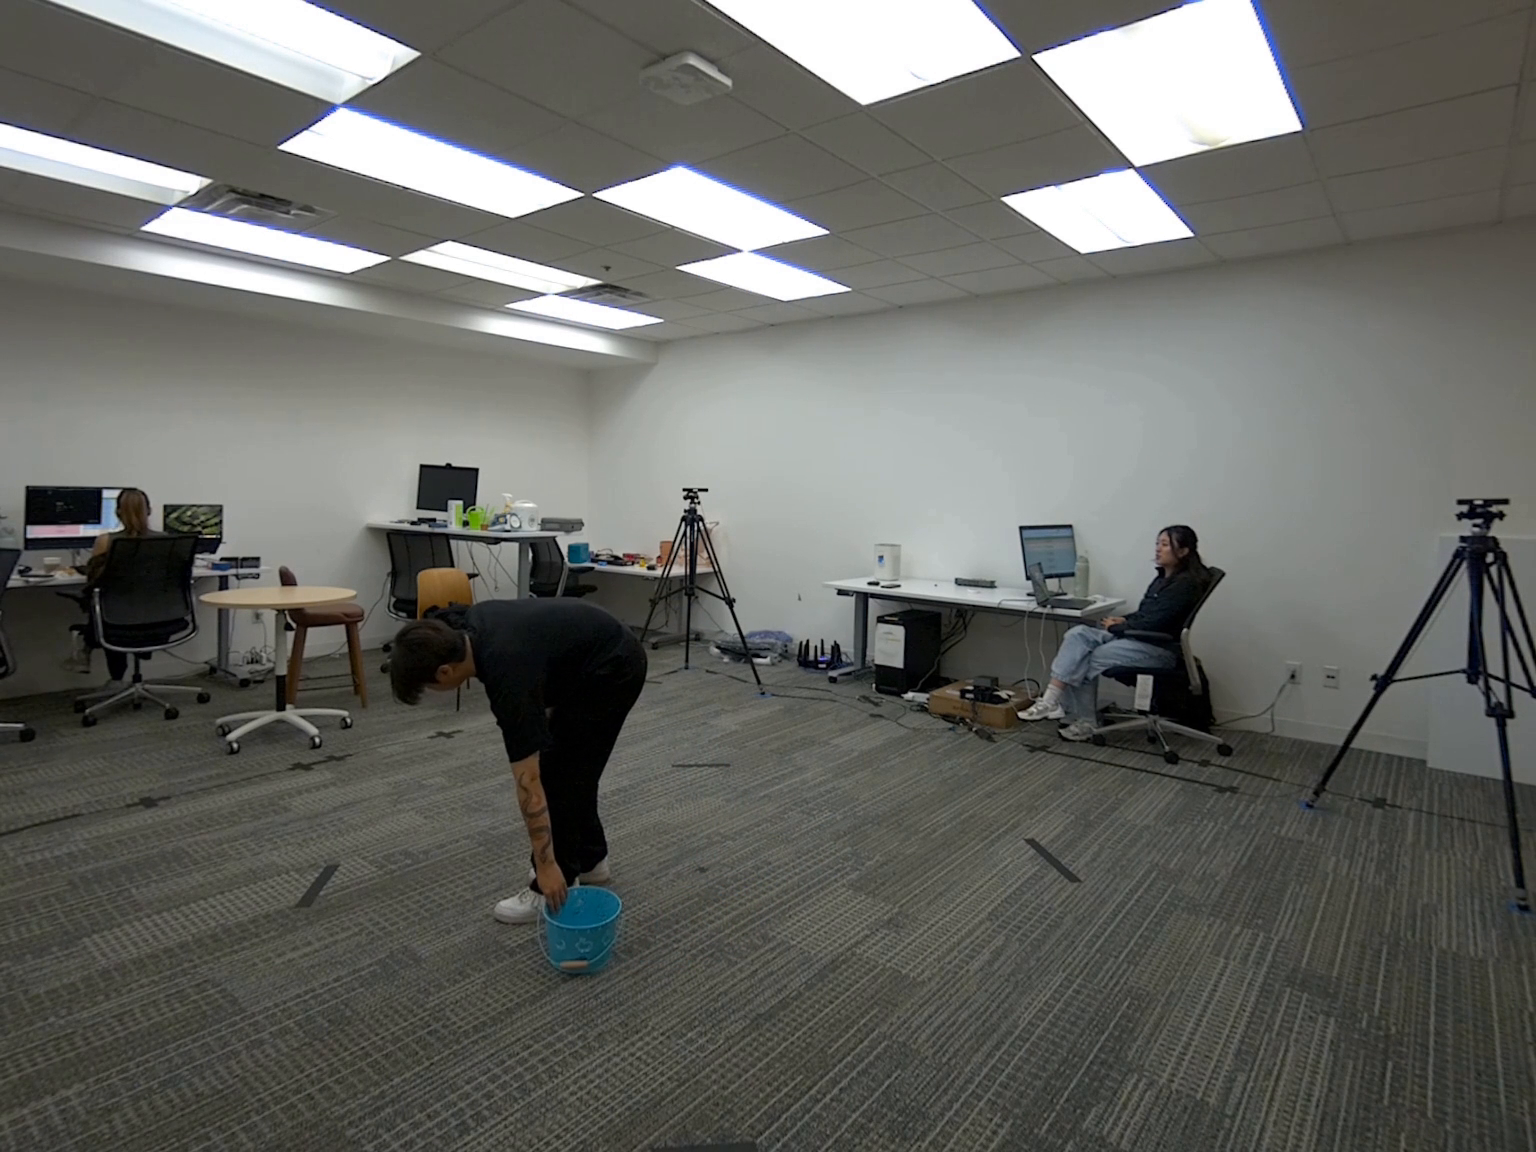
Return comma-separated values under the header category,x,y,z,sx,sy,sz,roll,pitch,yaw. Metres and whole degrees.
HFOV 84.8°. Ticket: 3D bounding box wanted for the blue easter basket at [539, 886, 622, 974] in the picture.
category,x,y,z,sx,sy,sz,roll,pitch,yaw
blue easter basket,-0.552,1.043,2.509,0.243,0.155,0.245,3,6,-2
